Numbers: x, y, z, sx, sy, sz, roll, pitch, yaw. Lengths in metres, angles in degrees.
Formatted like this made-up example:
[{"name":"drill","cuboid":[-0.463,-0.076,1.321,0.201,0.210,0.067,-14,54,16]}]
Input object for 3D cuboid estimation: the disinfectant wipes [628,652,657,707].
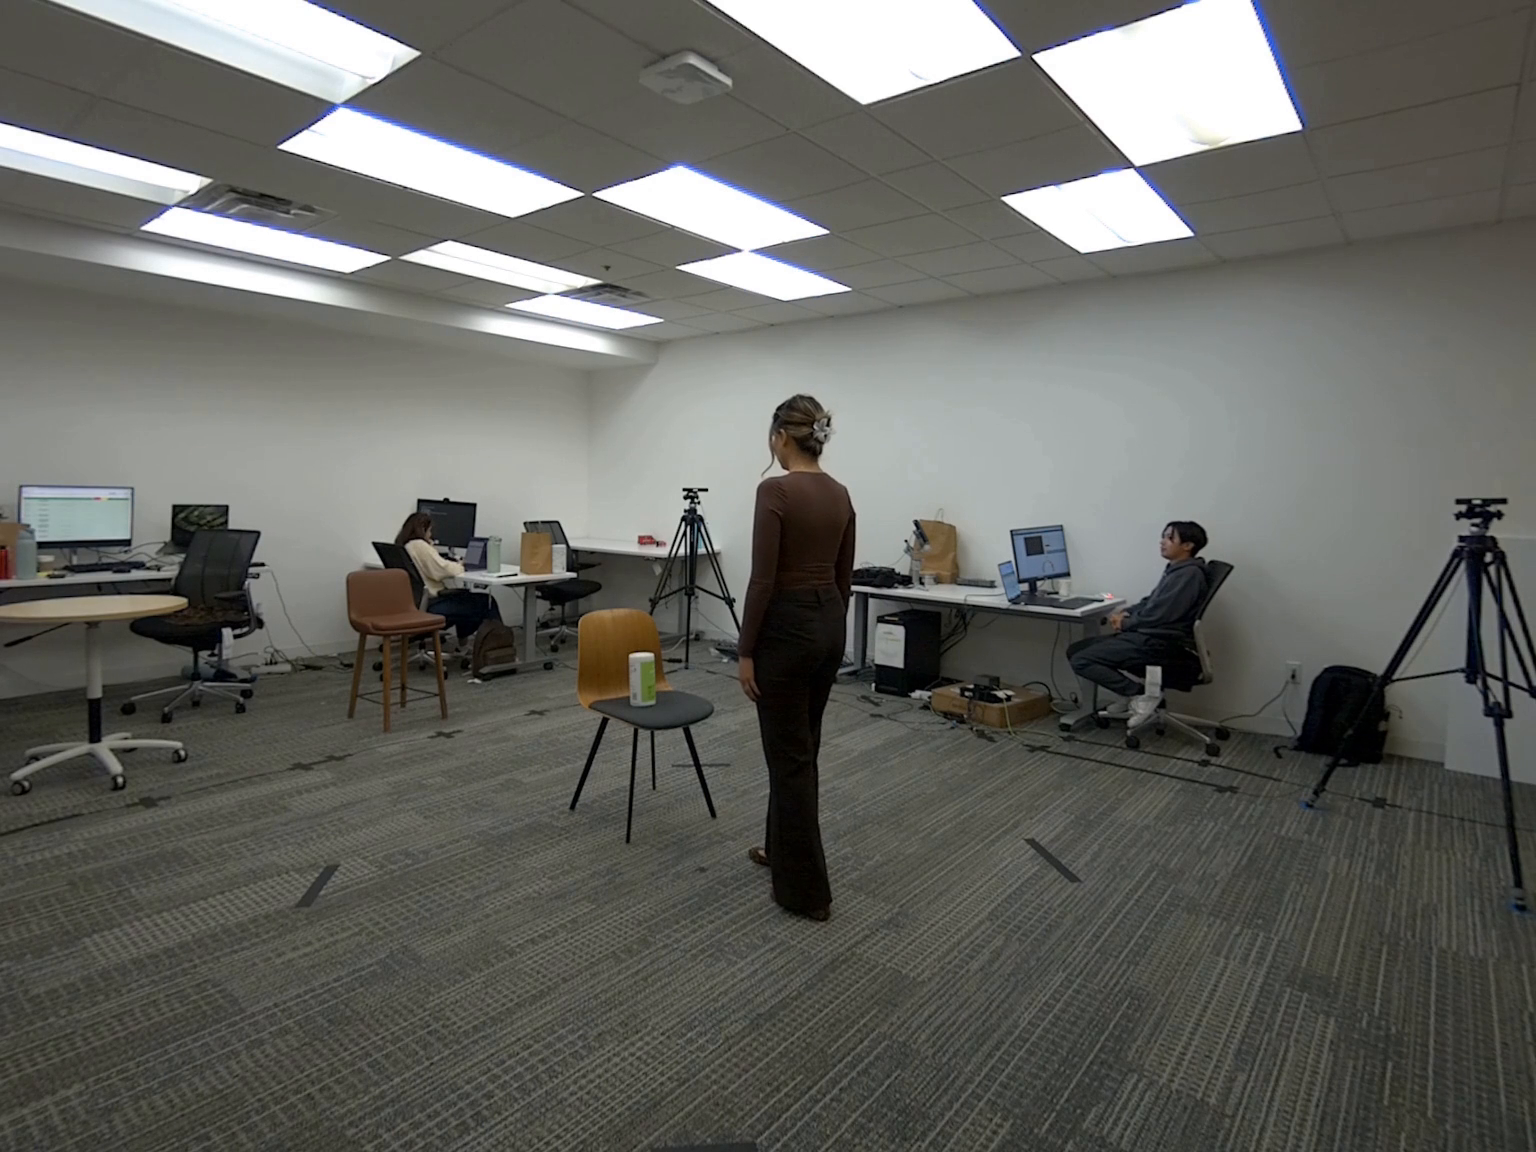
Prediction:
[{"name":"disinfectant wipes","cuboid":[-0.559,0.439,3.621,0.118,0.217,0.118,-2,0,-2]}]
